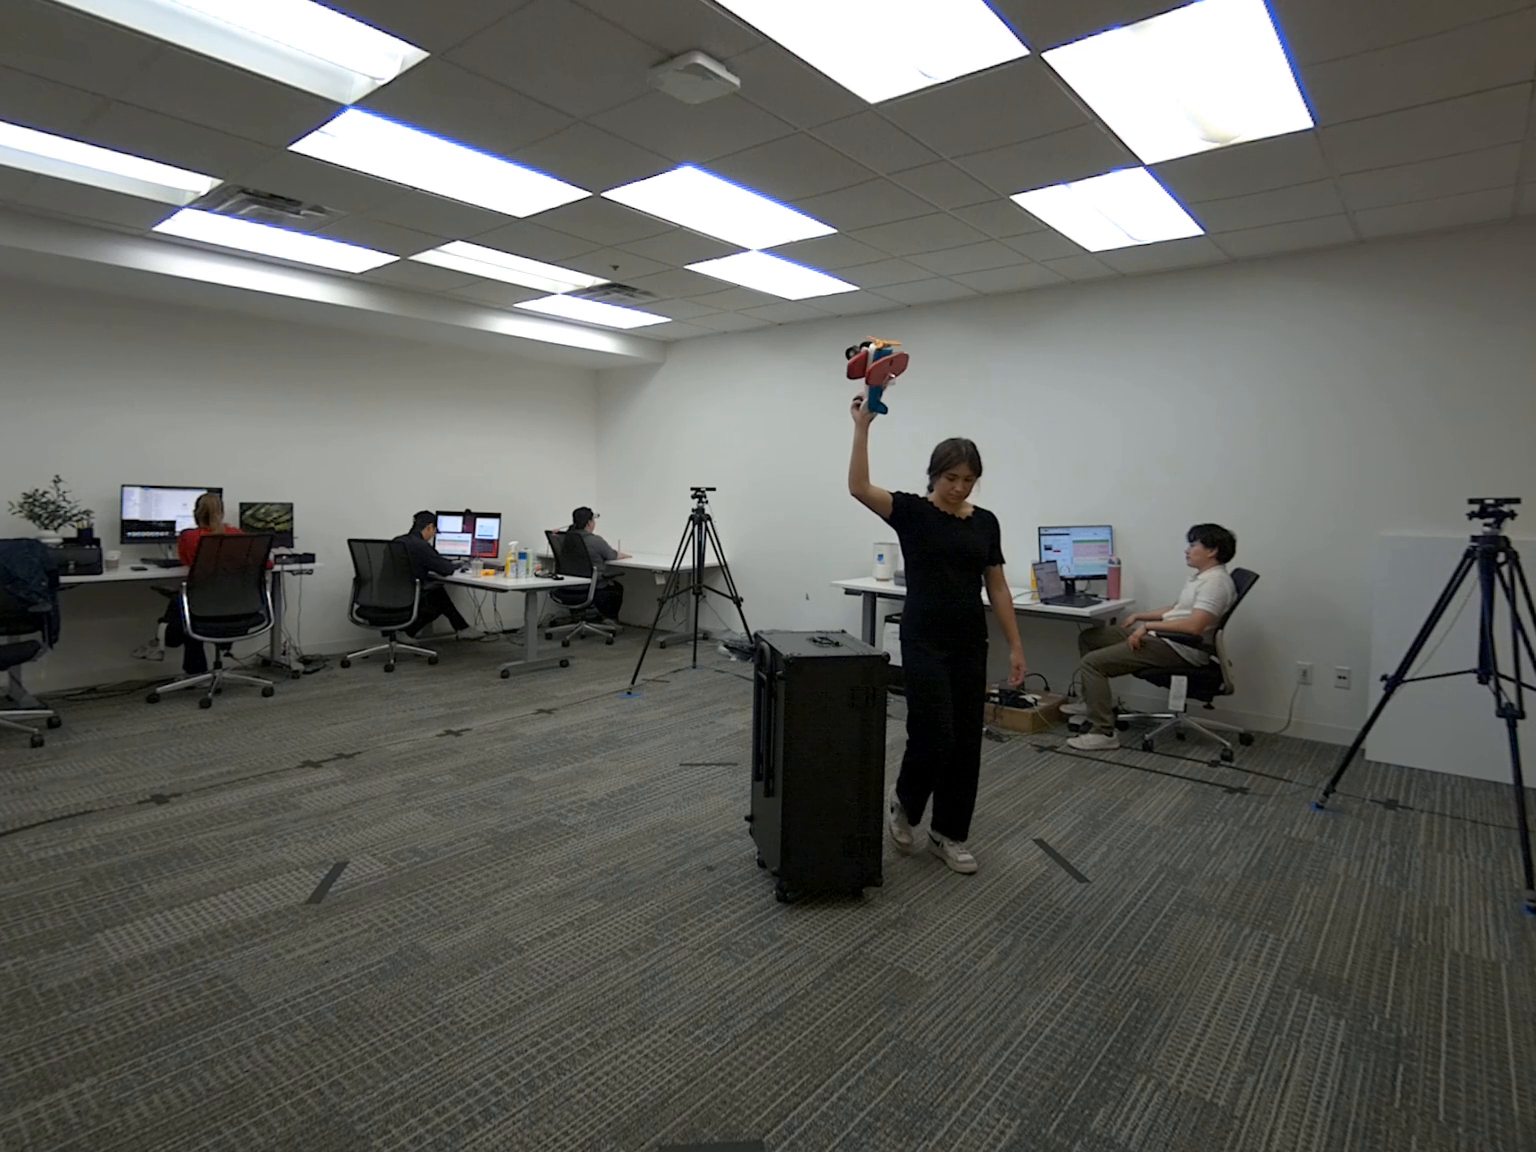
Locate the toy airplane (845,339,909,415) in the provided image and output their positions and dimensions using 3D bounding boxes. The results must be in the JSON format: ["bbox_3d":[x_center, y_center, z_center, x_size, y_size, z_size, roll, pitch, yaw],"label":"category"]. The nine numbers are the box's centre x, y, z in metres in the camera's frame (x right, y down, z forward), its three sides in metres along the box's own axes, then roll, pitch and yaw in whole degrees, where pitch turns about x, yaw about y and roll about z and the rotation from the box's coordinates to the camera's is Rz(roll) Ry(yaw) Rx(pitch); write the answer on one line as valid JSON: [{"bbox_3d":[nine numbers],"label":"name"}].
[{"bbox_3d":[0.364,-0.706,2.972,0.162,0.252,0.249,15,-31,40],"label":"toy airplane"}]
